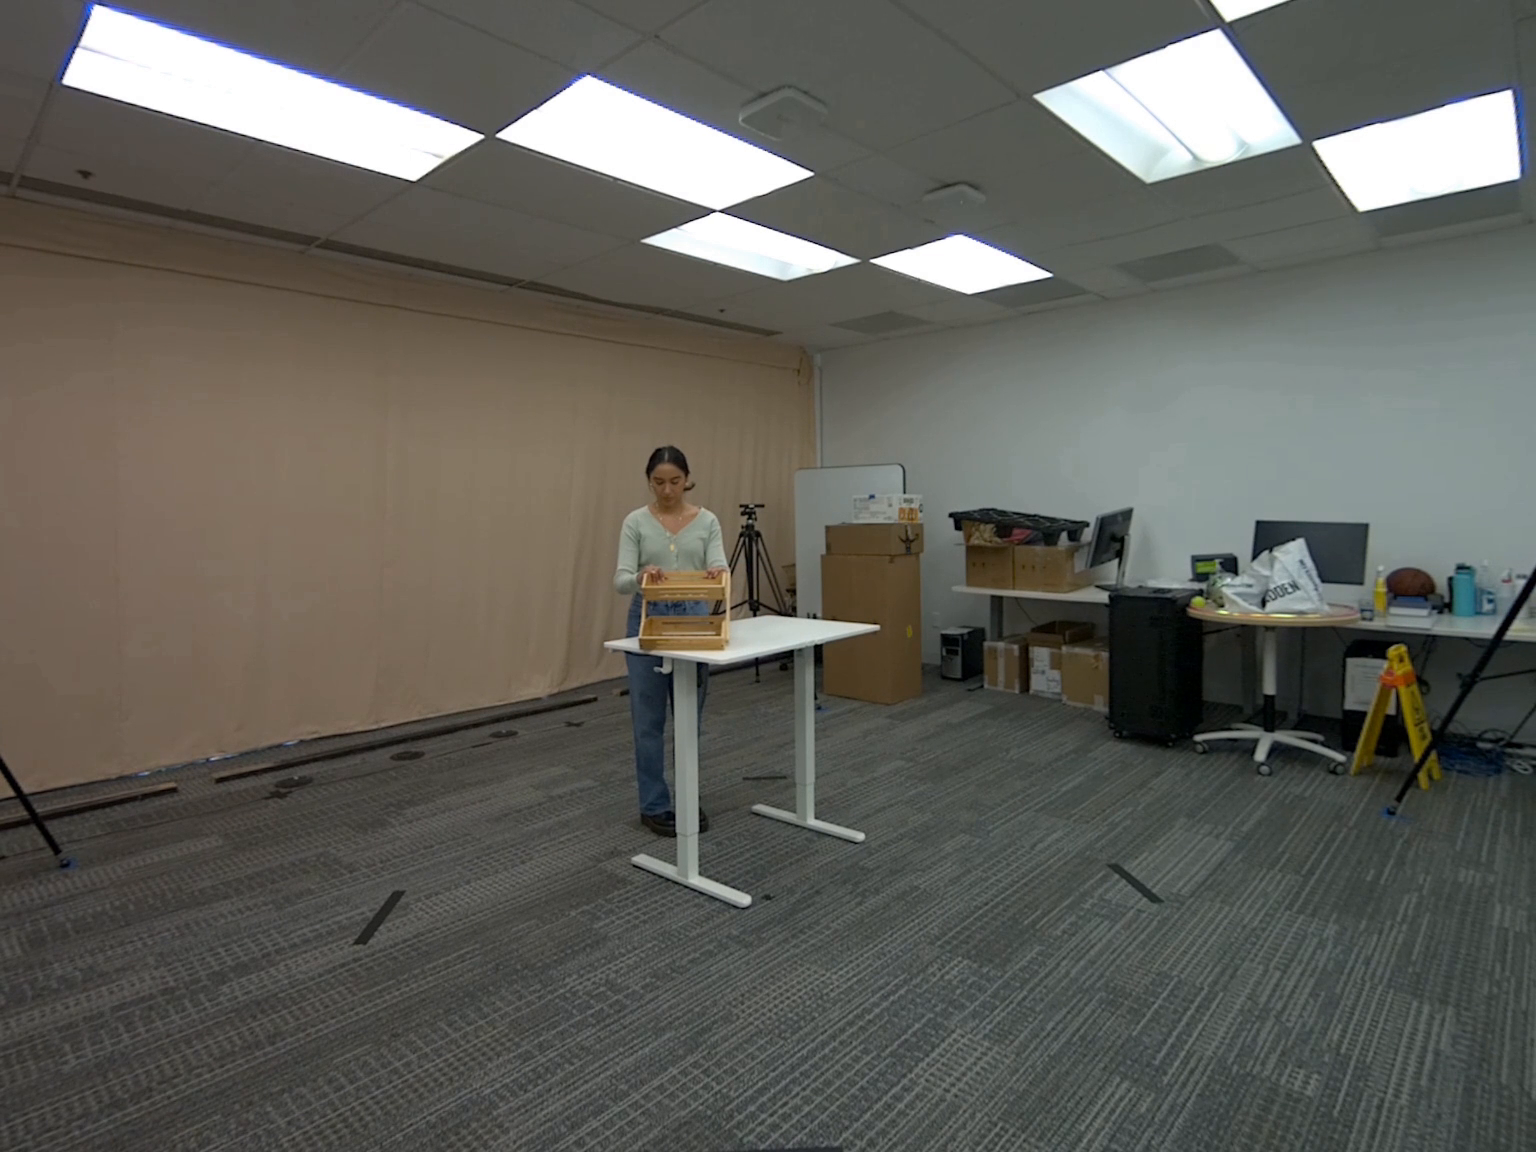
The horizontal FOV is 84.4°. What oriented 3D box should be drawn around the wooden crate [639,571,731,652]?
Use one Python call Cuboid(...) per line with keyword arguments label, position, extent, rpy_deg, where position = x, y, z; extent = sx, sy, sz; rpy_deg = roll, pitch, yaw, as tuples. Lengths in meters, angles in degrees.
Cuboid(label="wooden crate", position=(-0.299, 0.117, 3.094), extent=(0.326, 0.273, 0.301), rpy_deg=(0, 4, 4))
